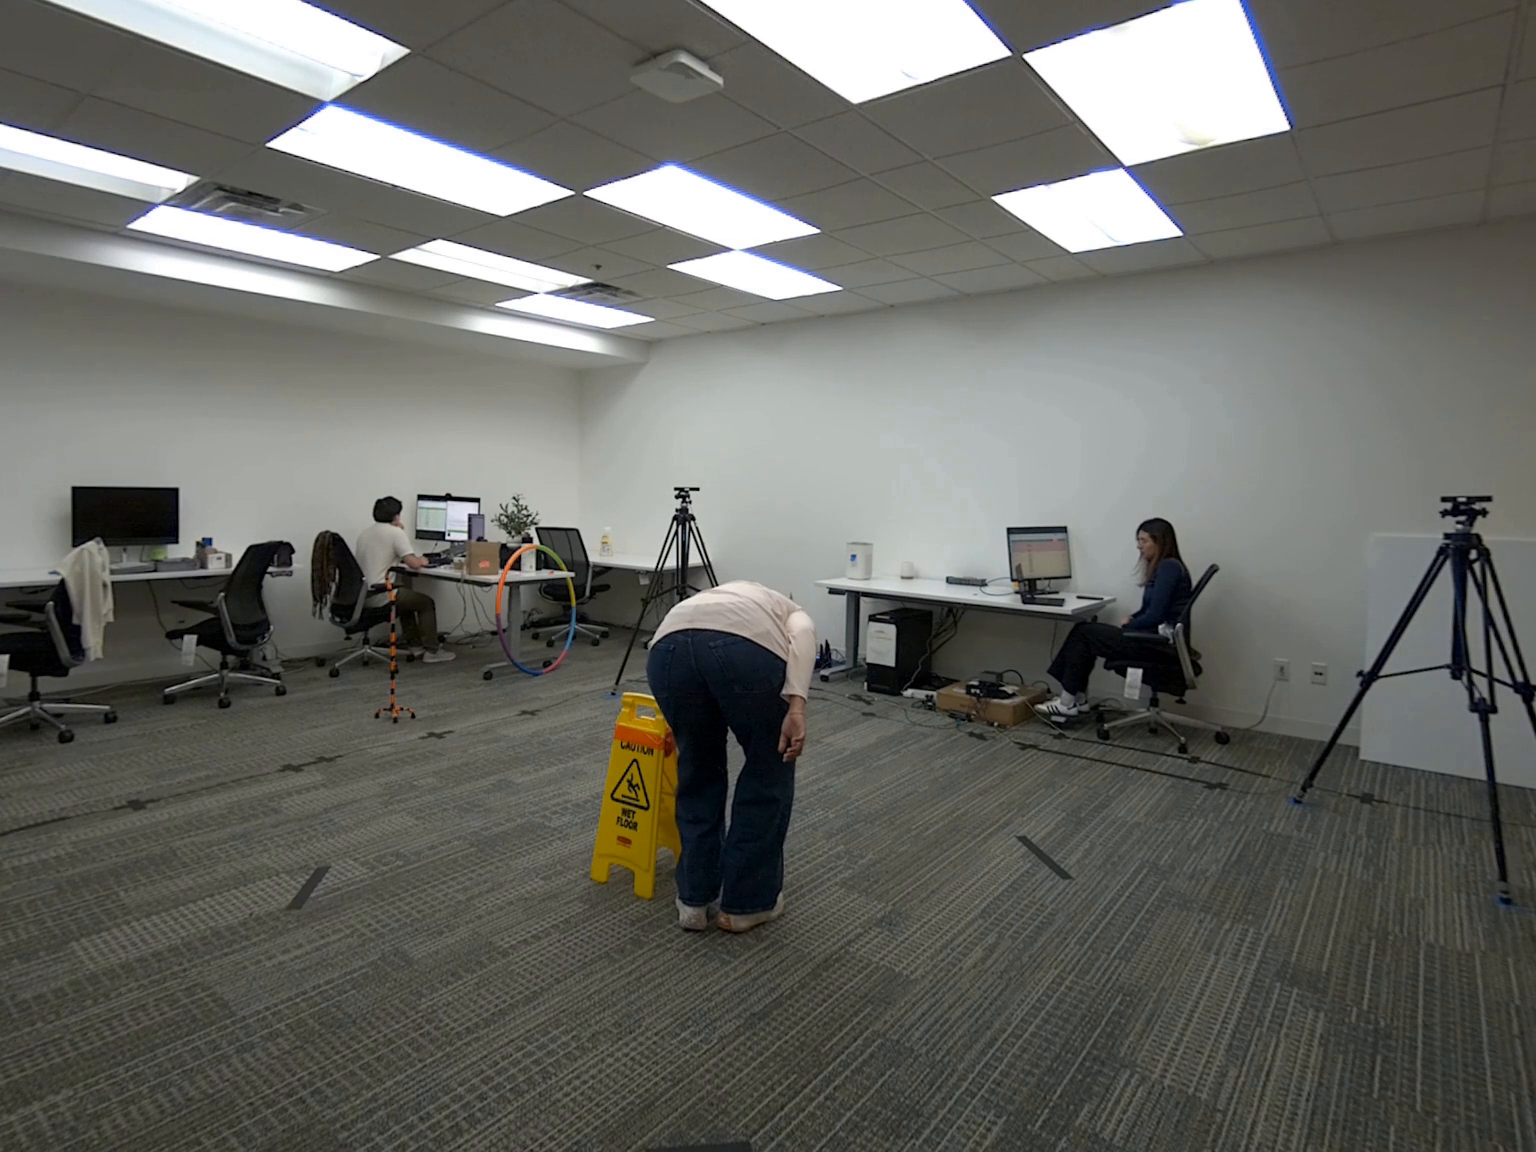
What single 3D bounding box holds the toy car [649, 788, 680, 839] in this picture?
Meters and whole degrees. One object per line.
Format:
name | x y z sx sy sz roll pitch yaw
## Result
toy car | -0.316 0.924 3.161 0.135 0.246 0.083 6 49 50
